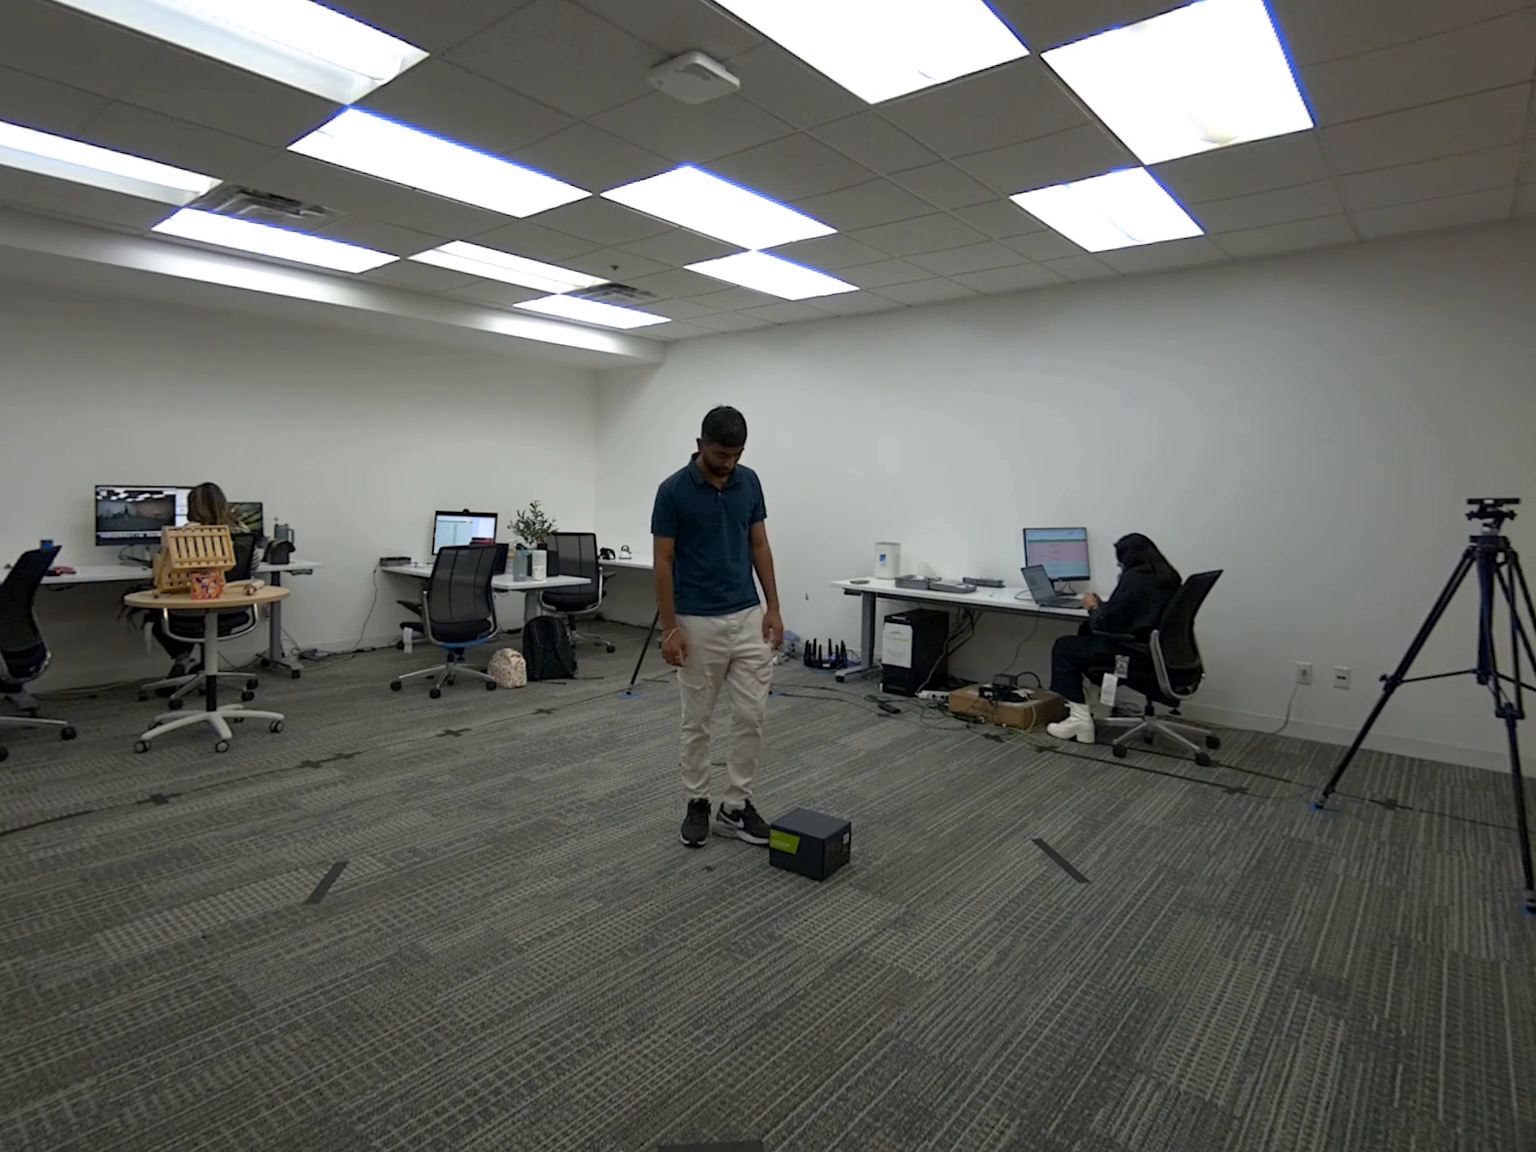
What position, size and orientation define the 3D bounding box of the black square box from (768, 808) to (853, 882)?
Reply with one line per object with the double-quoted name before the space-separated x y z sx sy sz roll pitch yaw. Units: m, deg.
"black square box" 0.150 0.984 3.163 0.235 0.155 0.211 5 6 34
